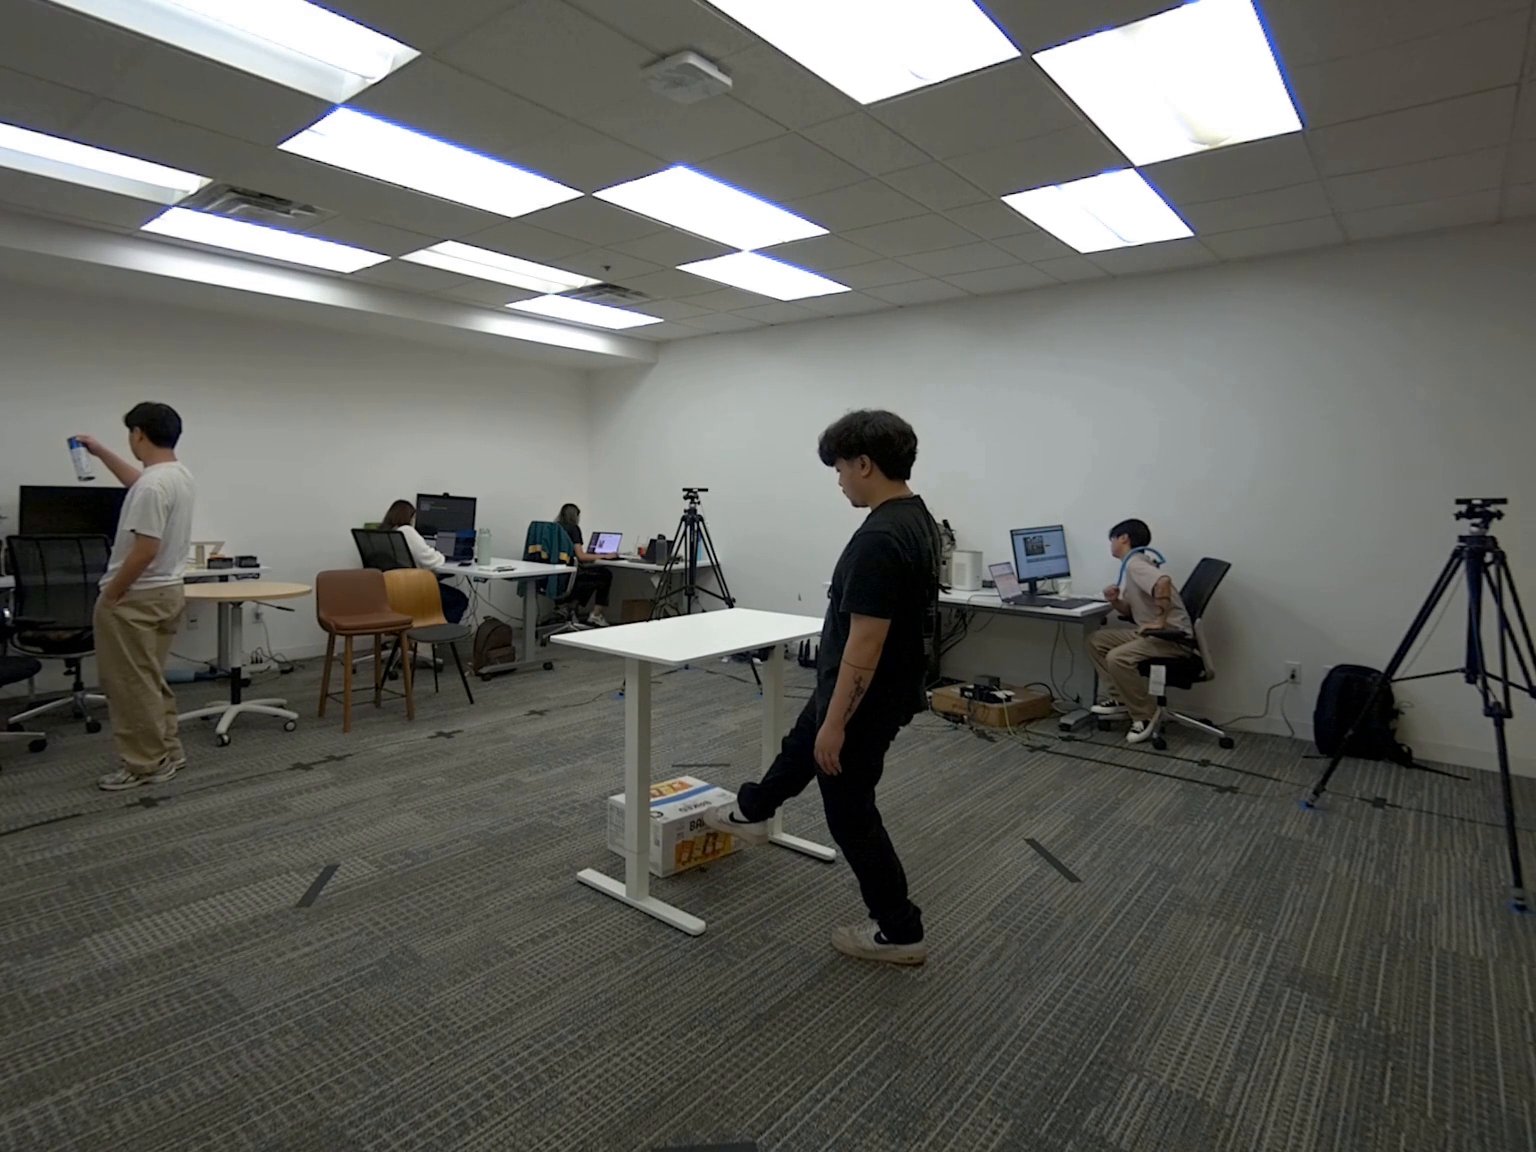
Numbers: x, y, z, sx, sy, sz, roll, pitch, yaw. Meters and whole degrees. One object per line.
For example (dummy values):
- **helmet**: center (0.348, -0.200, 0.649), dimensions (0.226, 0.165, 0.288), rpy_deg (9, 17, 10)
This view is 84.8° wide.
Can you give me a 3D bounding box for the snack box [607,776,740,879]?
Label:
- **snack box**: center (-0.359, 0.951, 3.263), dimensions (0.393, 0.205, 0.352), rpy_deg (-4, 6, -44)
